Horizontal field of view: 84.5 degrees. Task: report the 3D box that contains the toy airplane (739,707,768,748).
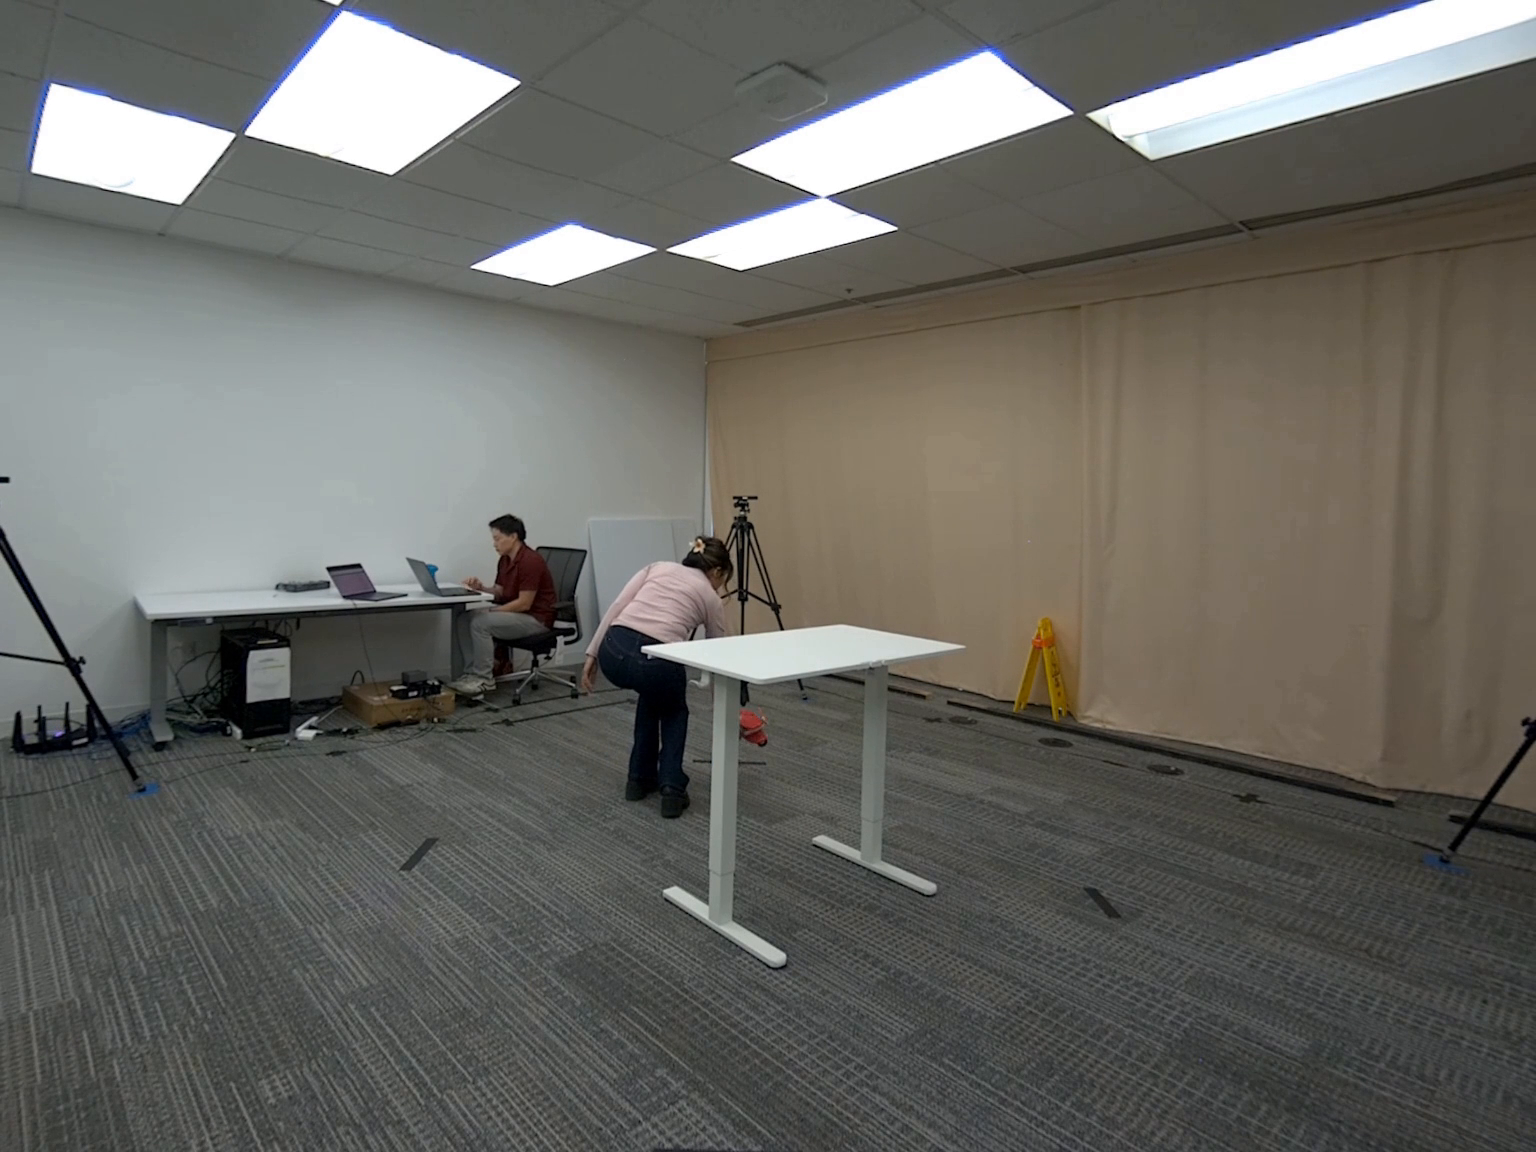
[{"bbox_3d":[-0.131,0.771,4.180,0.257,0.155,0.254,6,10,39],"label":"toy airplane"}]
